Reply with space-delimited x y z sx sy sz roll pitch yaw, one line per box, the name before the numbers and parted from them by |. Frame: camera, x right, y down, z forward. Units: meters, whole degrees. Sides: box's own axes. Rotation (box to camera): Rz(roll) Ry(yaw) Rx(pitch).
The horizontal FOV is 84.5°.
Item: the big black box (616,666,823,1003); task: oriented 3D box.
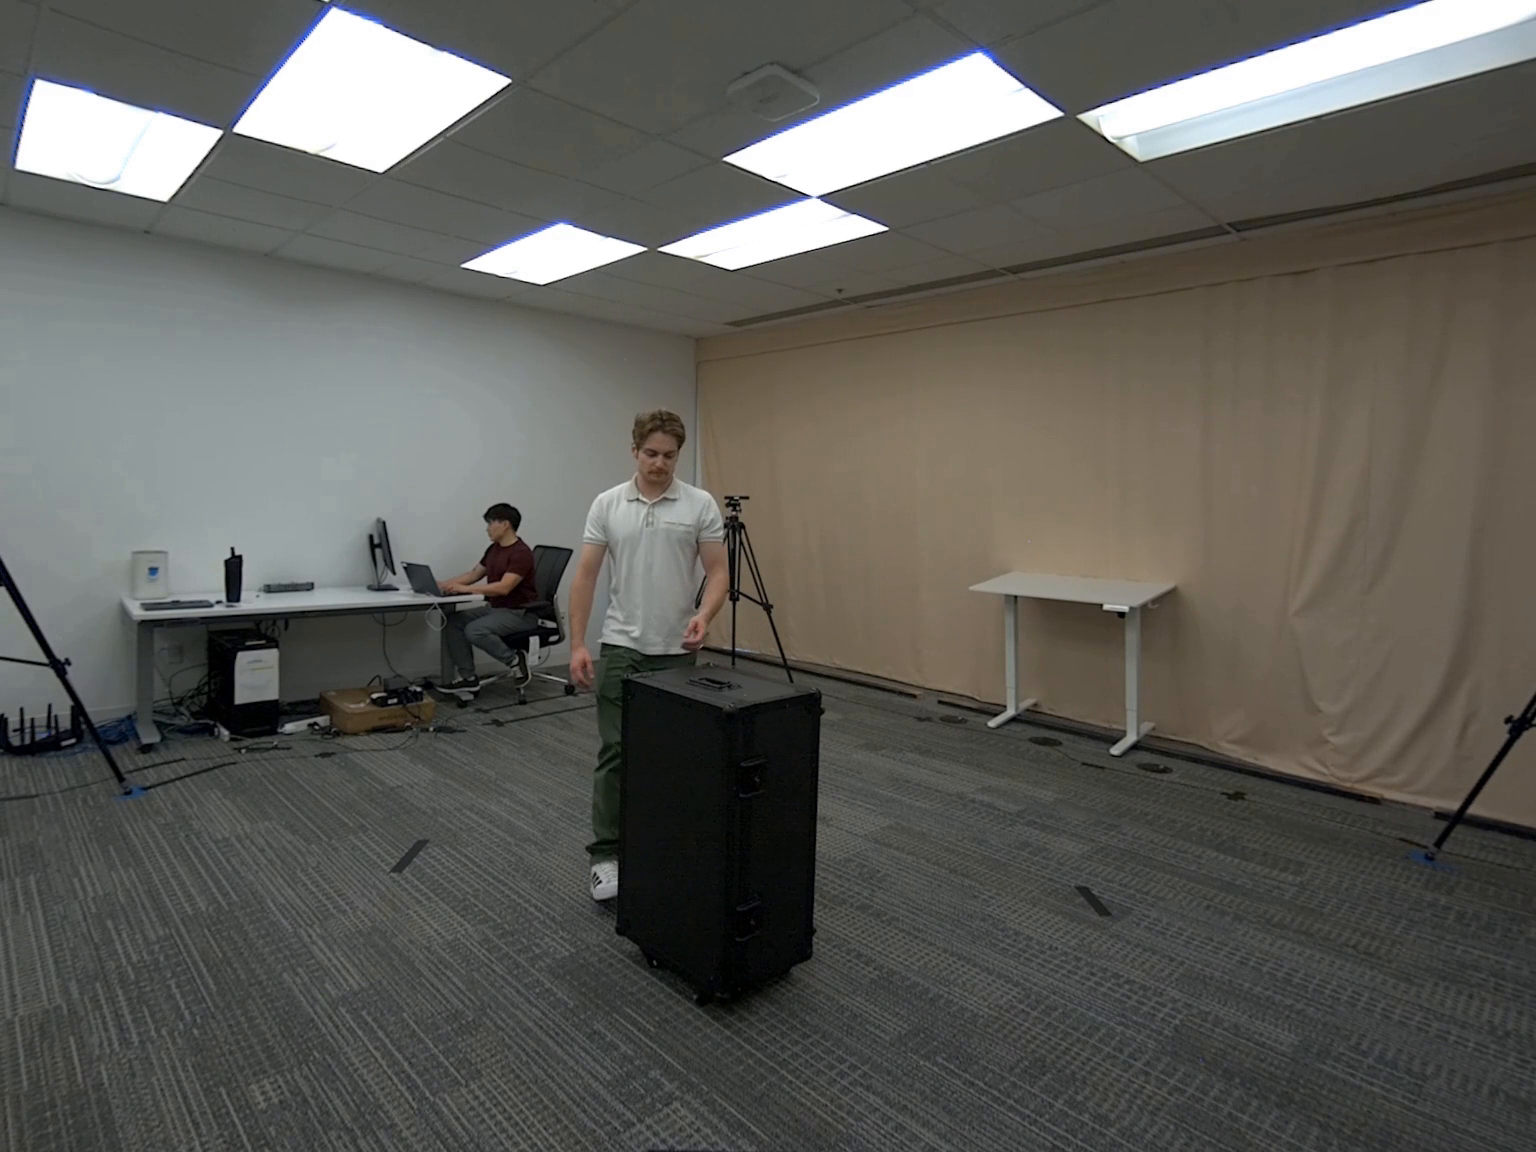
big black box | -0.159 0.742 2.468 0.376 0.866 0.537 -1 4 -45
